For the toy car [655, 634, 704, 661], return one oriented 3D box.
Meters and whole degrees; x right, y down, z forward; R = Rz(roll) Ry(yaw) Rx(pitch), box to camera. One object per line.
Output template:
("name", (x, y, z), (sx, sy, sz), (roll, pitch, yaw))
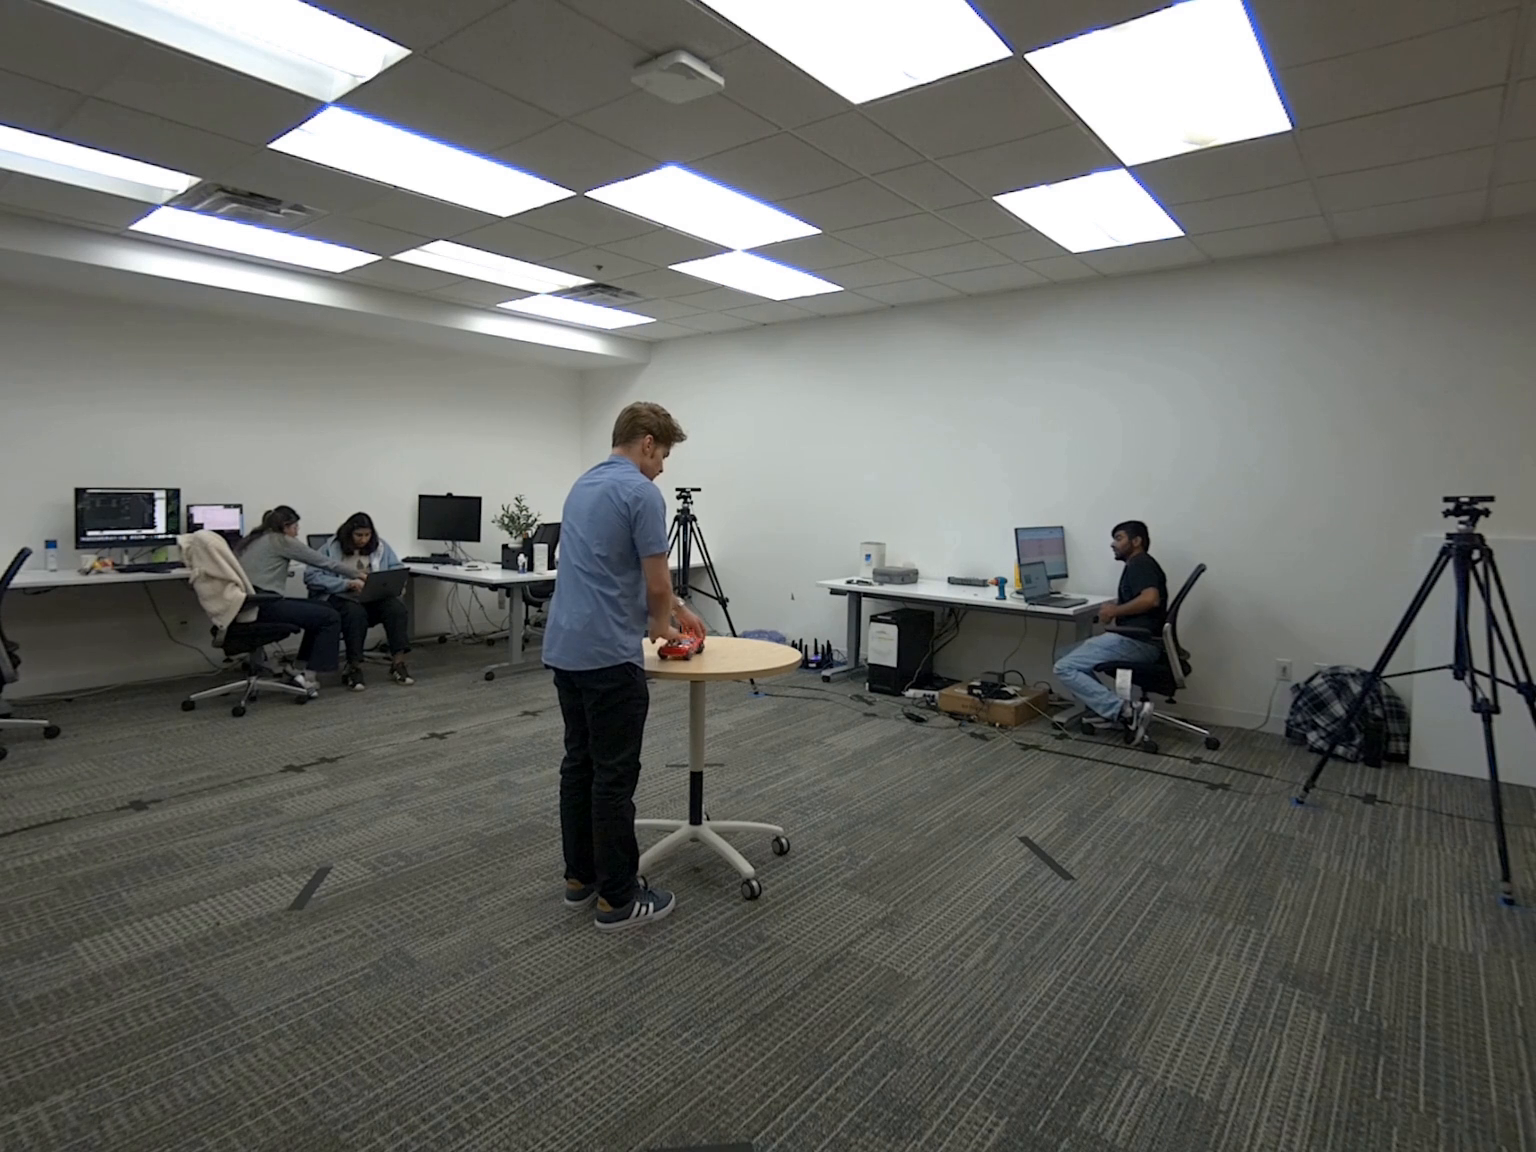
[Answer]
("toy car", (-0.315, 0.255, 3.092), (0.132, 0.082, 0.254), (2, 16, 13))
